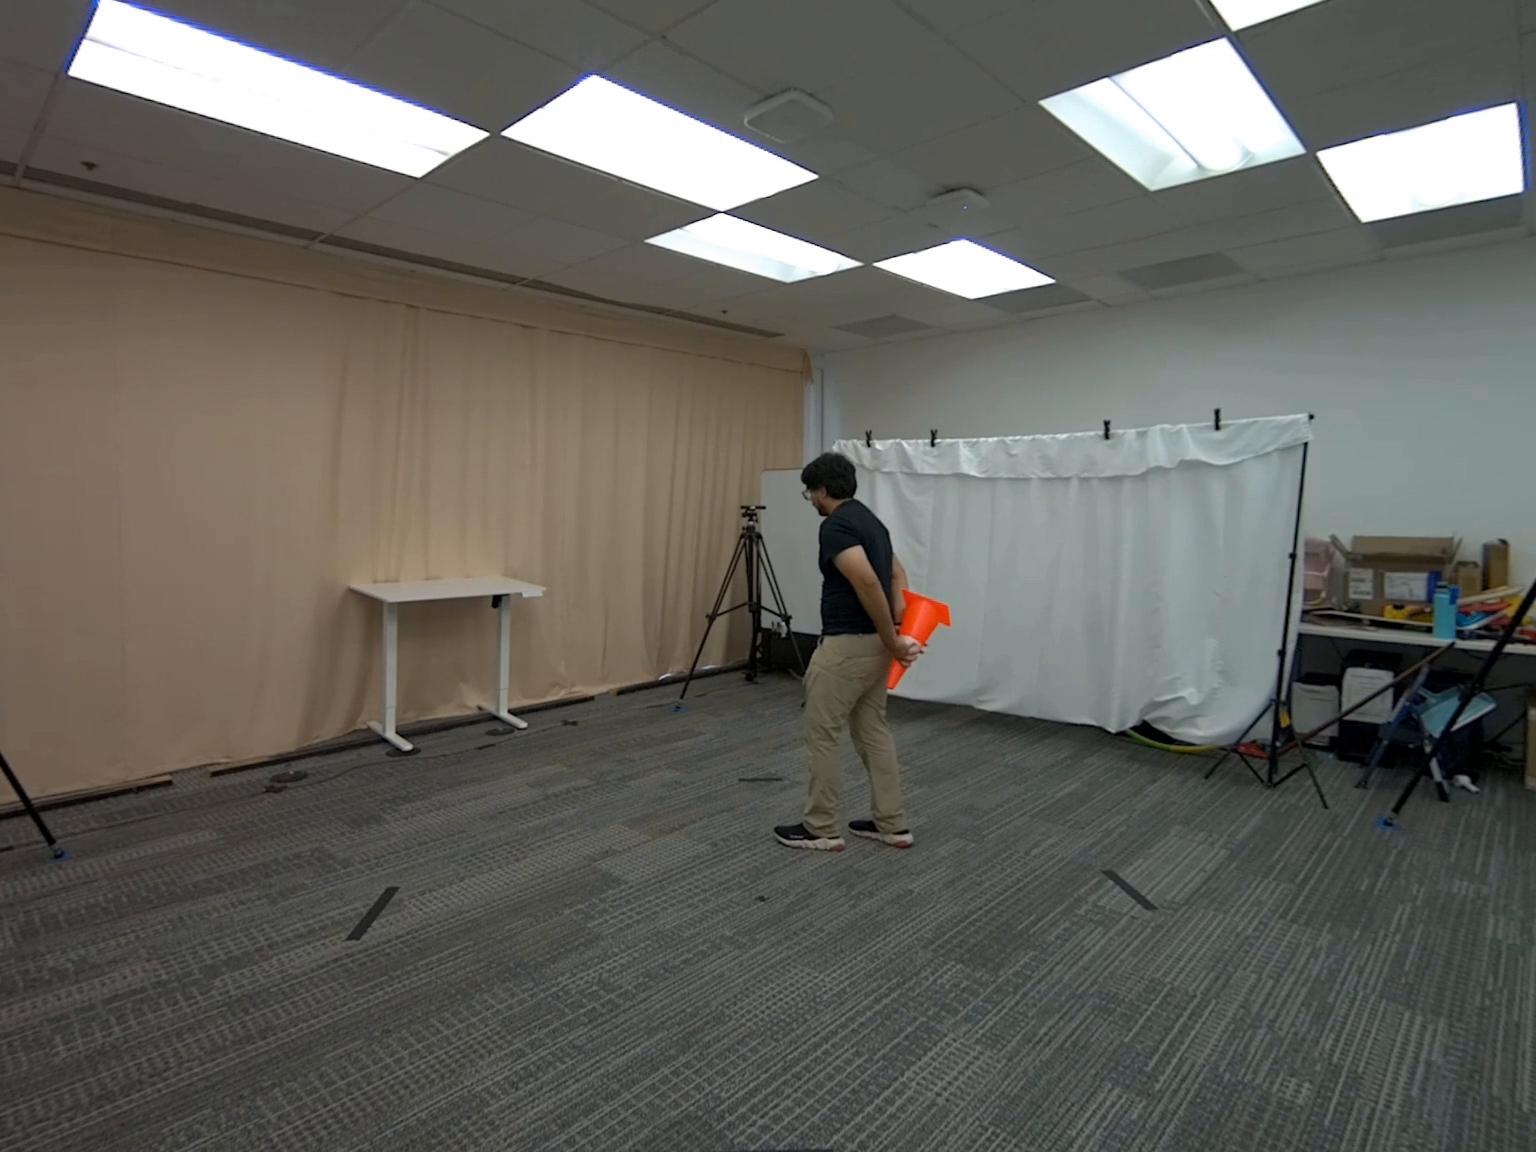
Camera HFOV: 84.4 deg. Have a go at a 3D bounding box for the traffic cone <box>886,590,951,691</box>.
[{"bbox_3d":[0.567,0.287,3.395,0.211,0.384,0.197,20,-19,28],"label":"traffic cone"}]
